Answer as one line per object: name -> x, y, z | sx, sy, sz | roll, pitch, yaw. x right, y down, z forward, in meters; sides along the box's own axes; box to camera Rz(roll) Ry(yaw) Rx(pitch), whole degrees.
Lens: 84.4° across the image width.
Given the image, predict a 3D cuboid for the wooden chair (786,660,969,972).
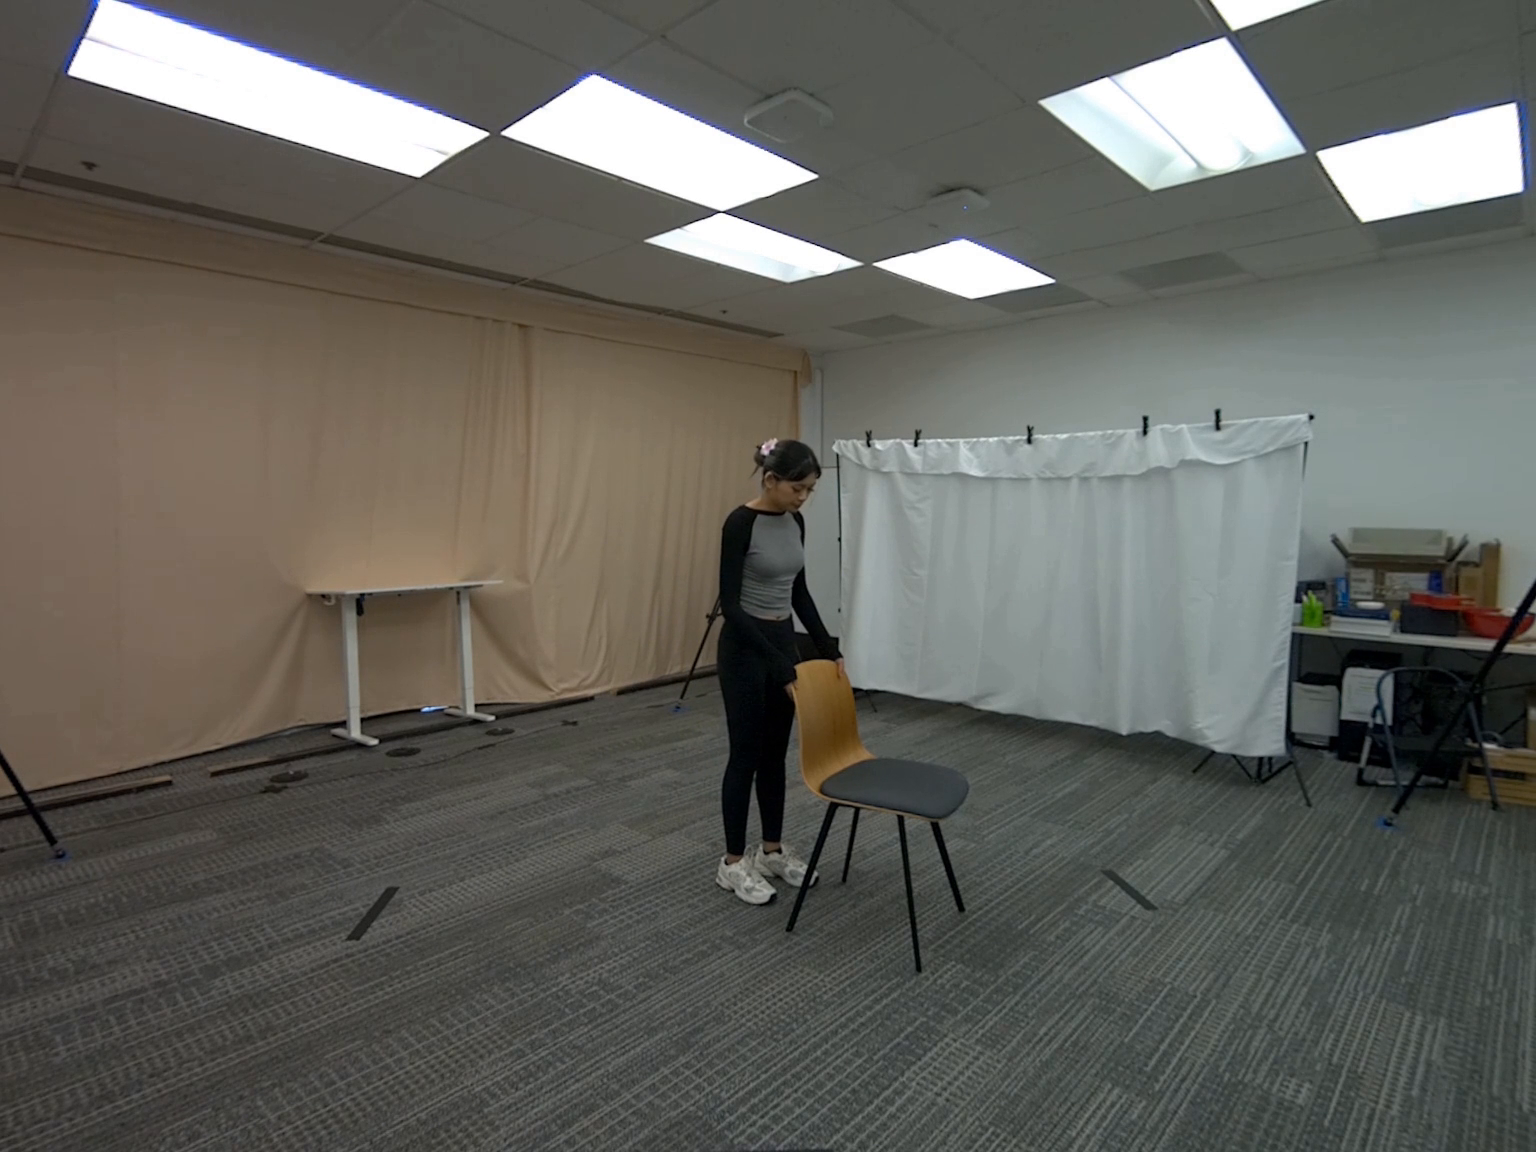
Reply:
wooden chair -> 0.378, 0.731, 2.785 | 0.538, 0.877, 0.465 | -4, 0, 31
